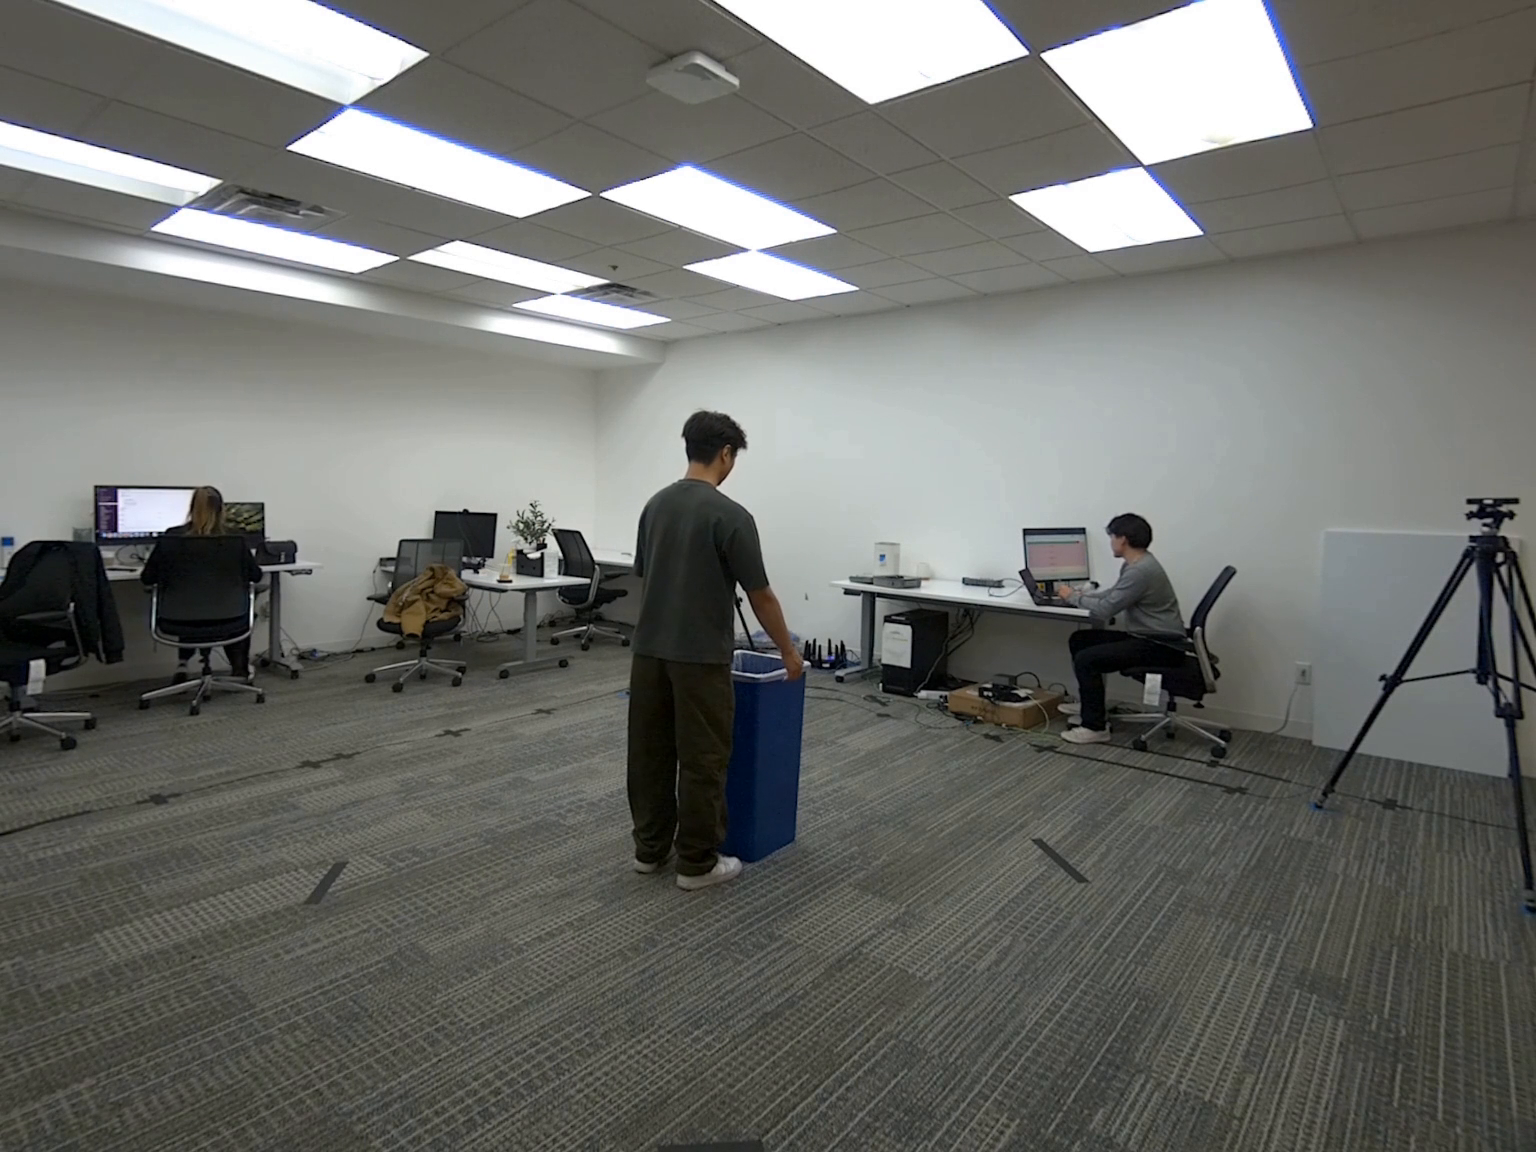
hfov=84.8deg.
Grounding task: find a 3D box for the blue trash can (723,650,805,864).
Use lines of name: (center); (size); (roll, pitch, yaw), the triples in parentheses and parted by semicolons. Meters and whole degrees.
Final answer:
blue trash can: (-0.092, 0.687, 3.350); (0.390, 0.711, 0.364); (4, 5, 35)
